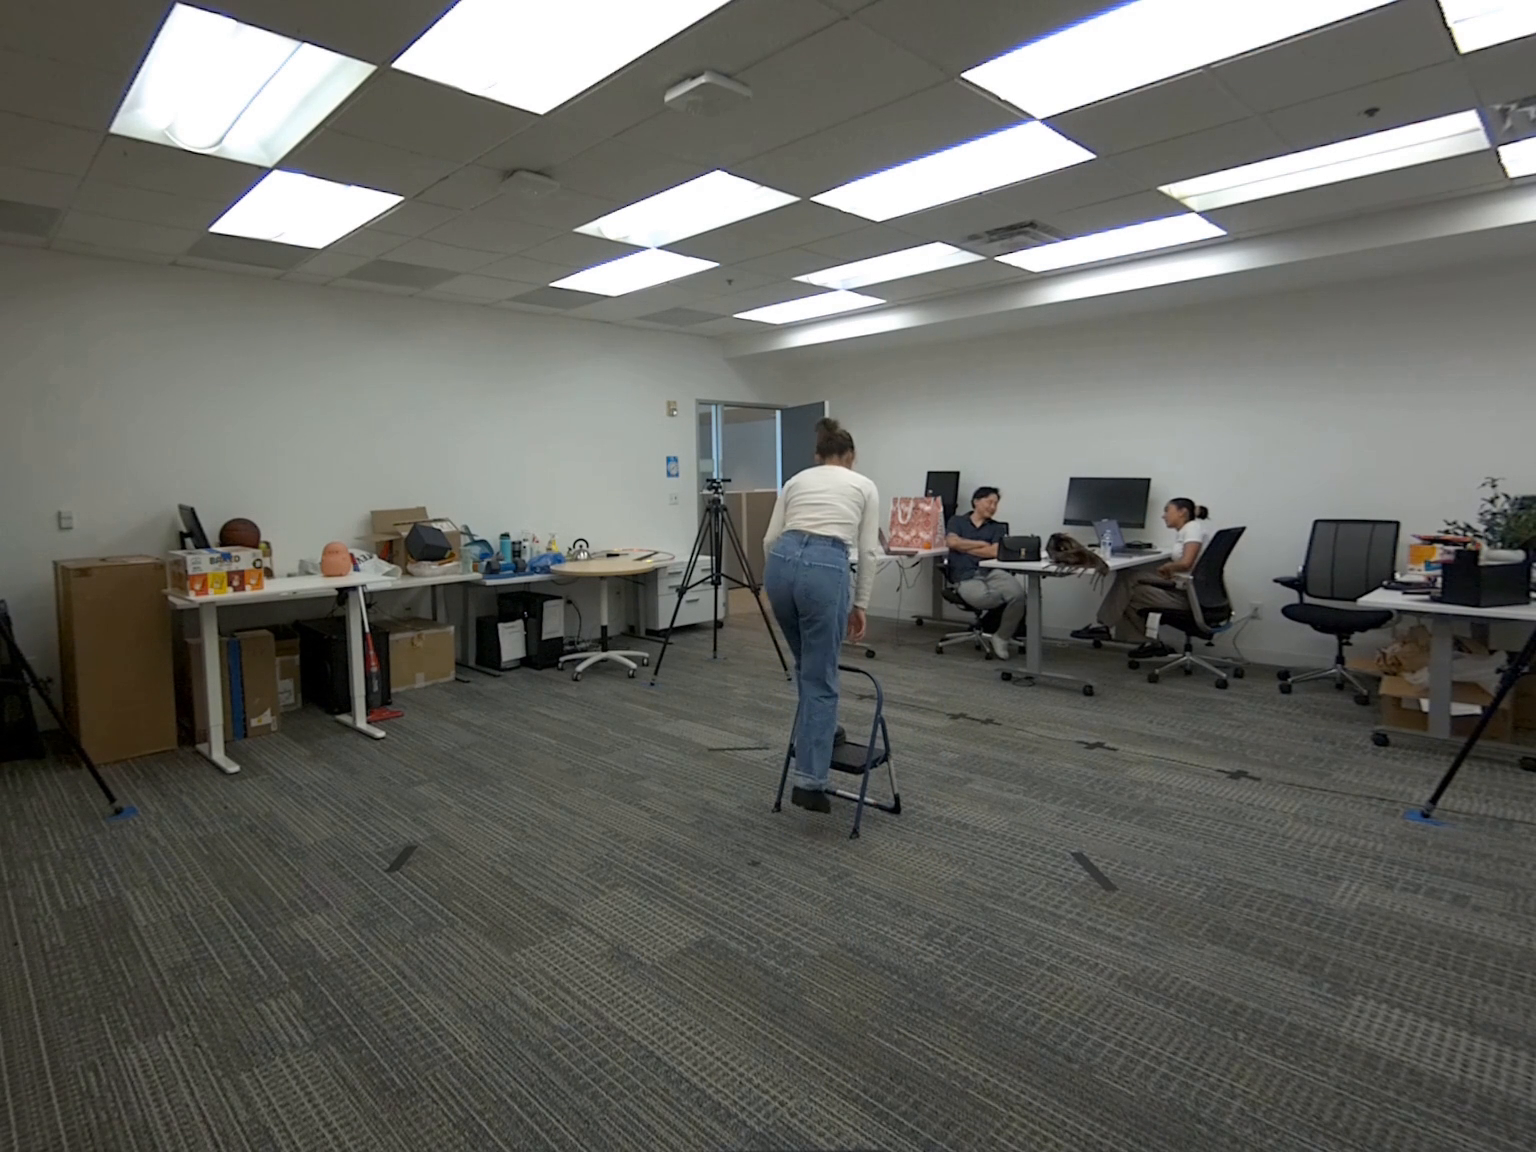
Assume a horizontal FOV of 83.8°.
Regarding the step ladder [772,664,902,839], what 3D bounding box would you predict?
[{"bbox_3d":[0.290,0.690,3.554,0.444,0.604,0.340,4,5,42],"label":"step ladder"}]
